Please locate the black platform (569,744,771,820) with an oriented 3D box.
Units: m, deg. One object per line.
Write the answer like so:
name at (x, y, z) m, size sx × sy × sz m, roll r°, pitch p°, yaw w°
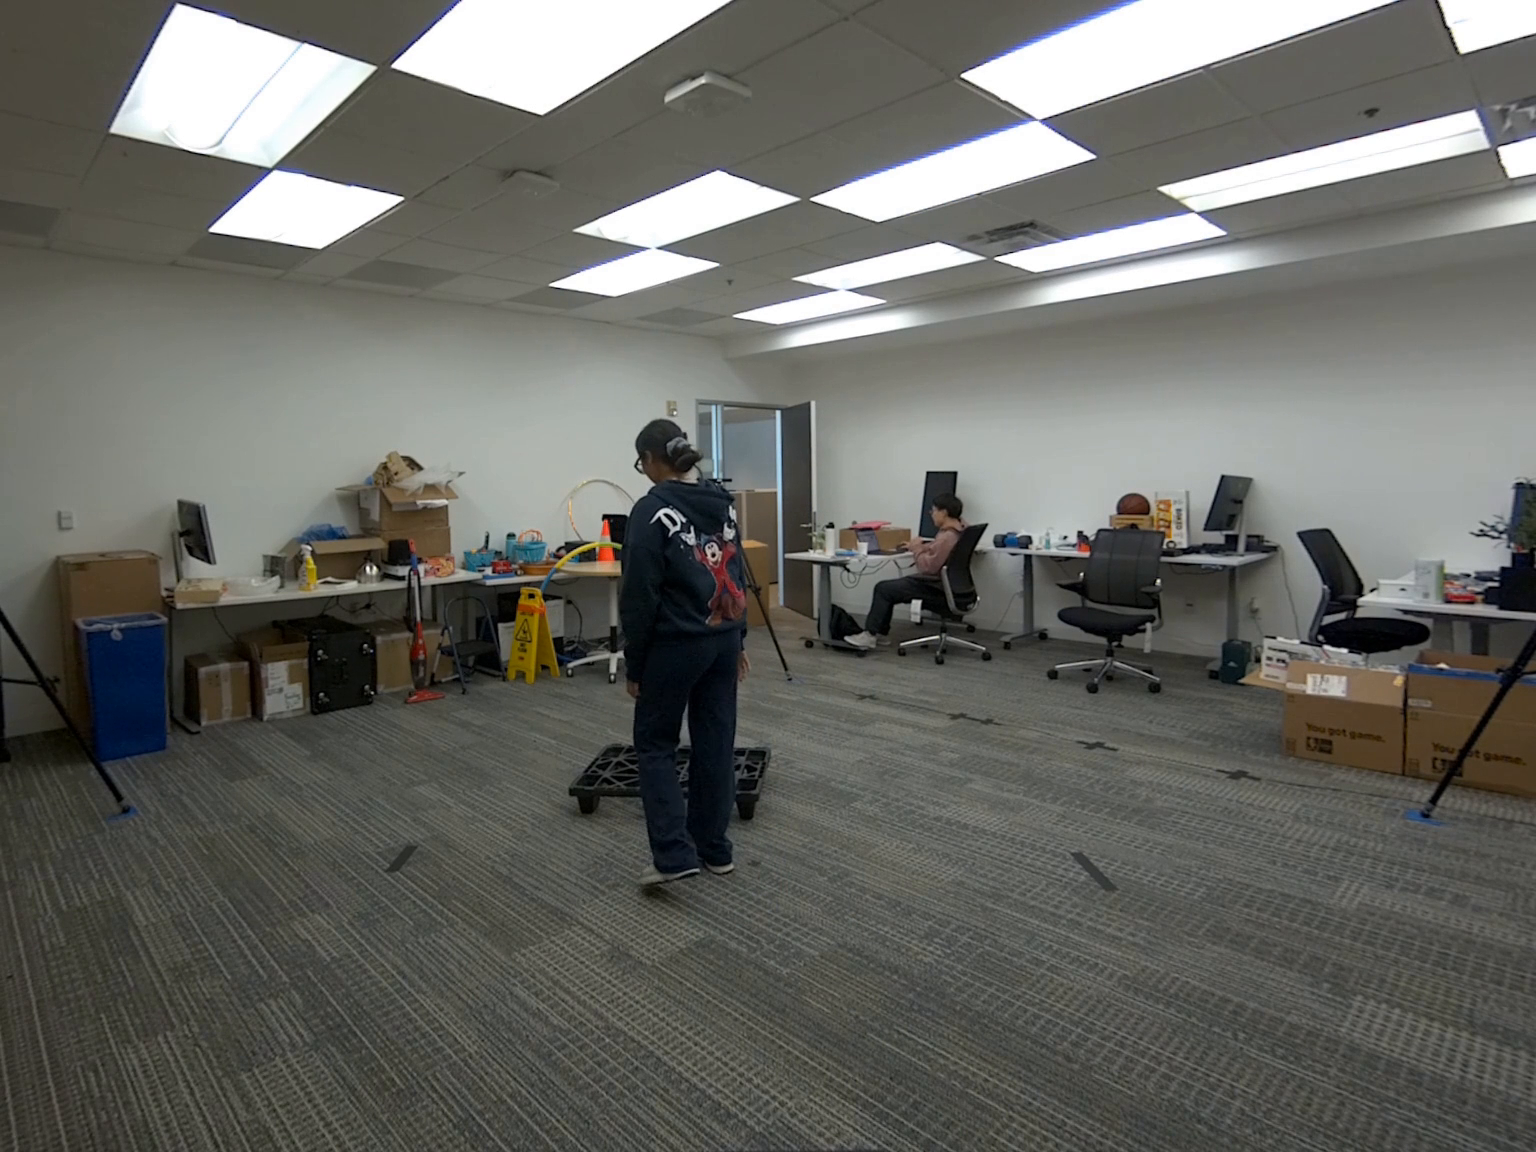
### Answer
black platform at (-0.406, 0.906, 3.784) m, size 0.812 × 0.143 × 0.603 m, roll 0°, pitch 5°, yaw 7°
